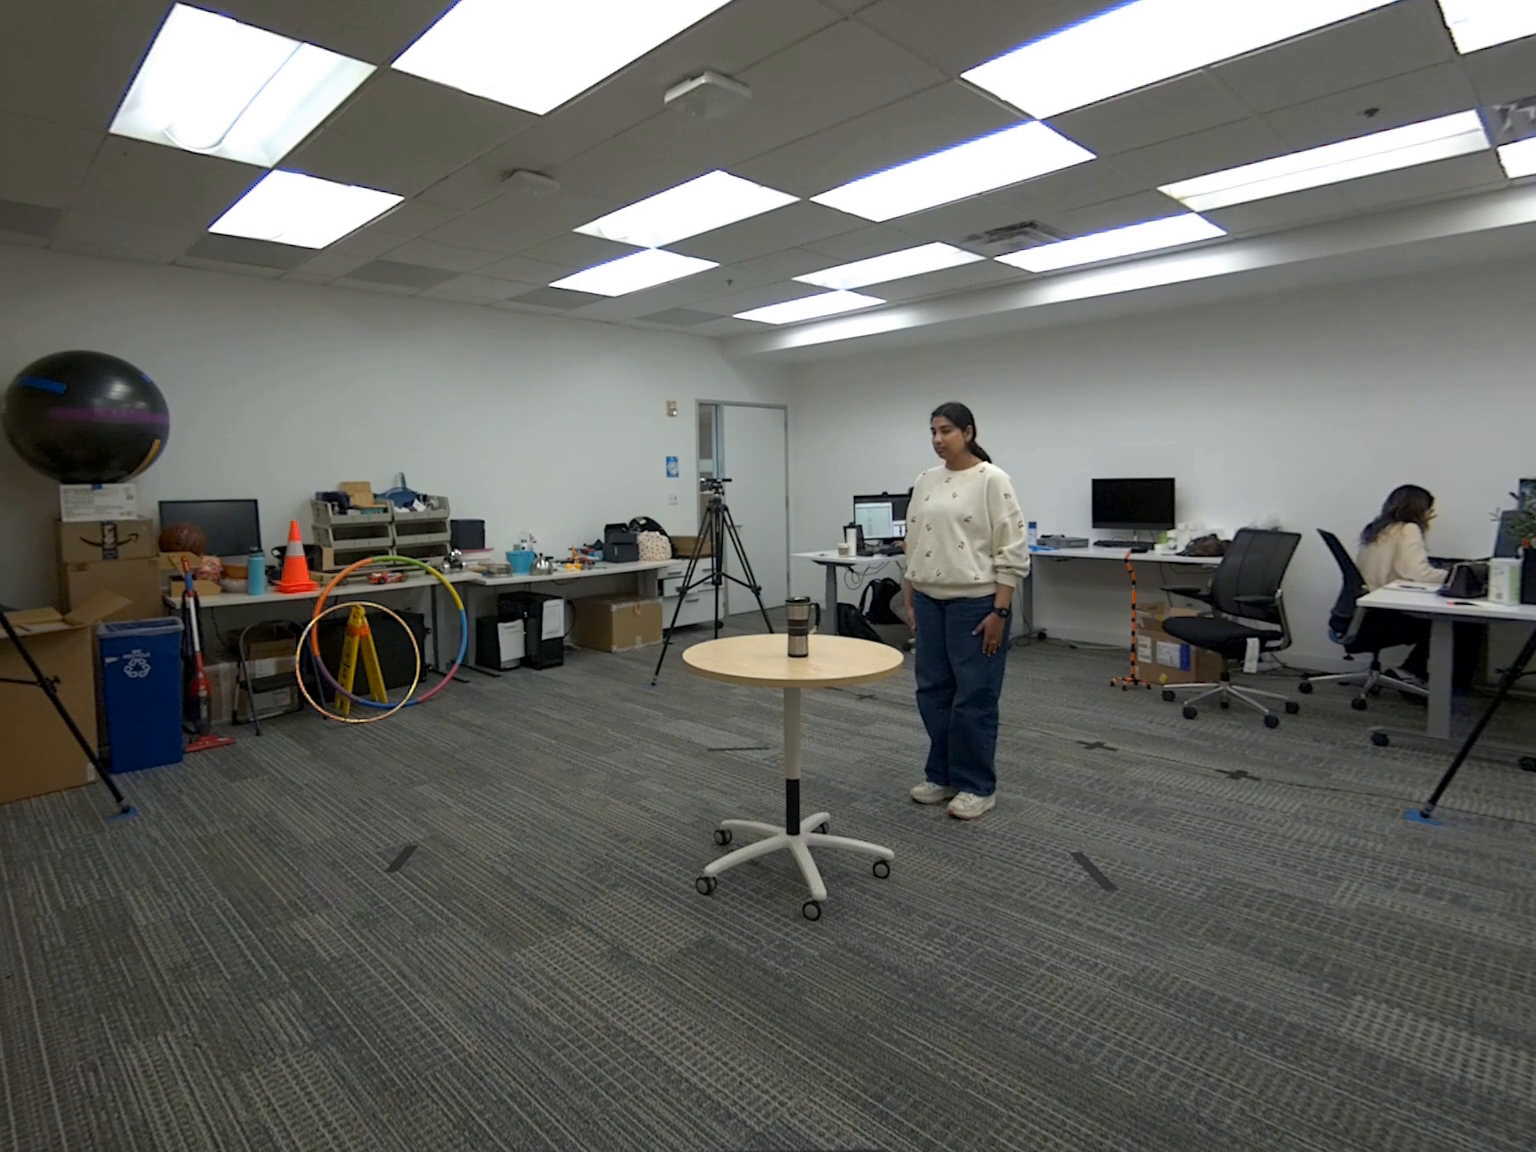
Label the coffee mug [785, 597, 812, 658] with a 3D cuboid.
[{"bbox_3d":[0.126,0.177,2.937,0.124,0.203,0.086,-3,1,18],"label":"coffee mug"}]
